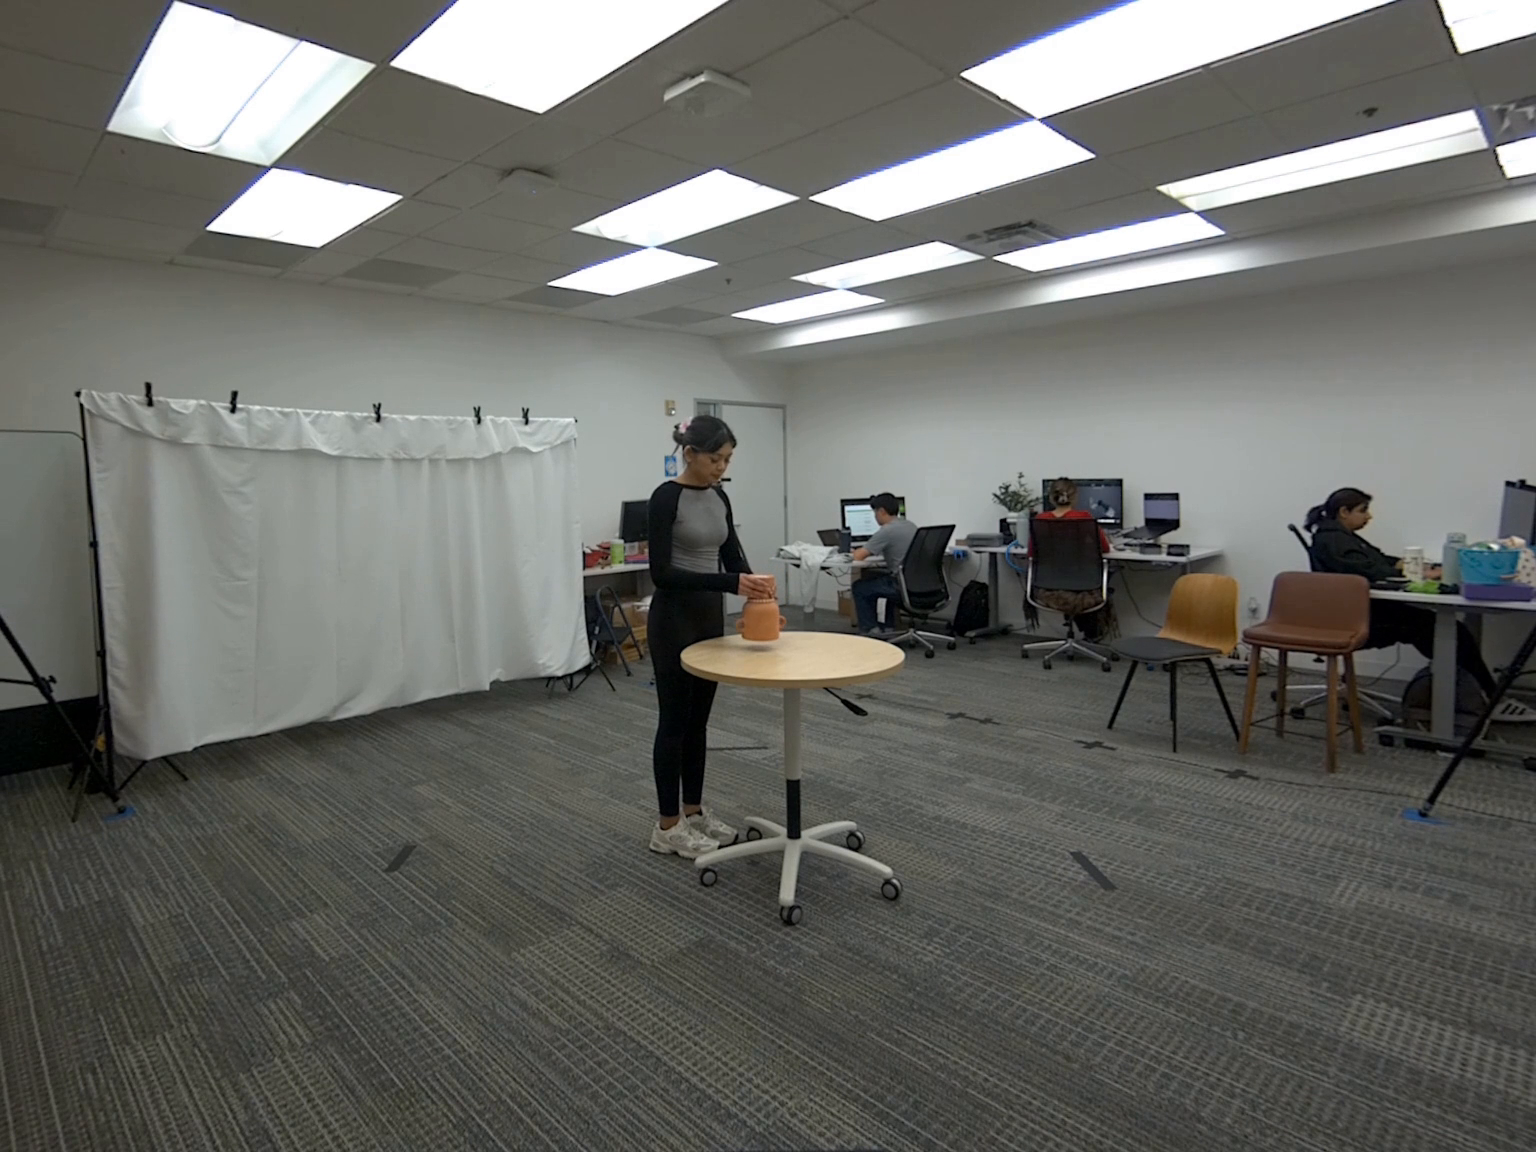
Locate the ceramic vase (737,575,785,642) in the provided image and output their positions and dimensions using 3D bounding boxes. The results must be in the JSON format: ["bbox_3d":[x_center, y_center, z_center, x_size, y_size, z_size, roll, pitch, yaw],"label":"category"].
[{"bbox_3d":[-0.028,0.108,3.009,0.138,0.219,0.156,3,4,24],"label":"ceramic vase"}]
